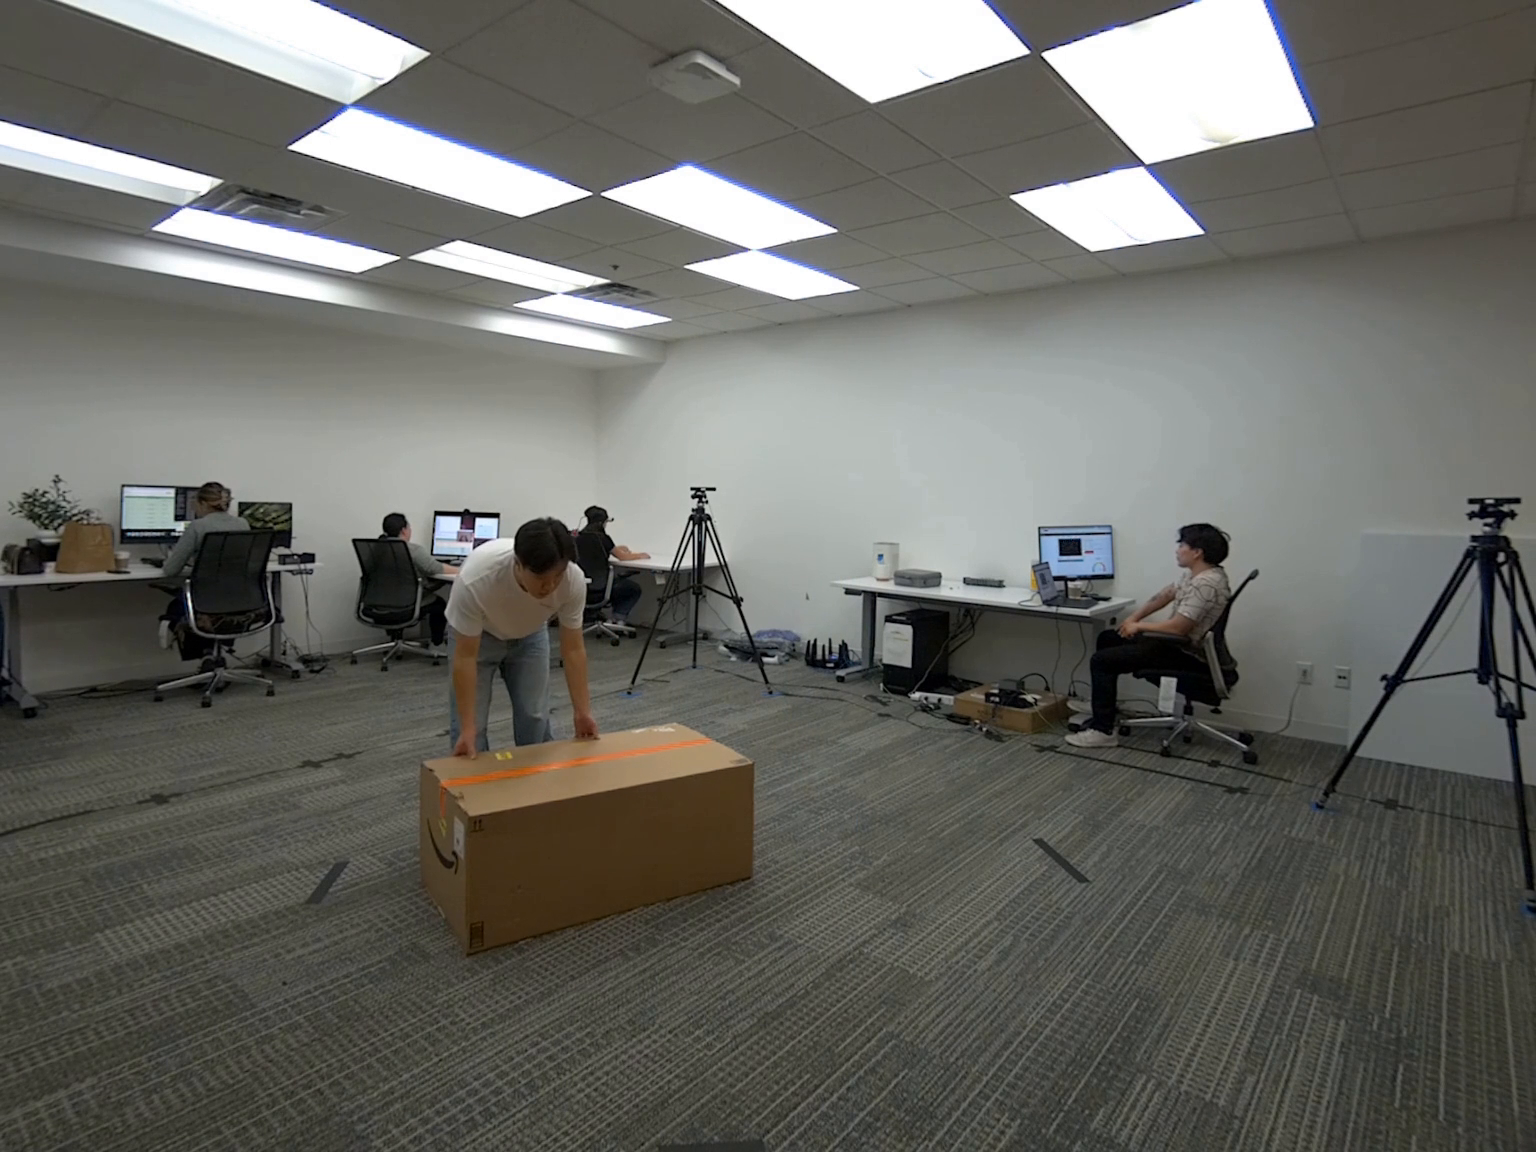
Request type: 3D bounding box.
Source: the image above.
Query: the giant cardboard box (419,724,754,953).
[{"bbox_3d":[-0.633,0.858,2.986,0.997,0.425,0.596,-3,5,-34],"label":"giant cardboard box"}]
